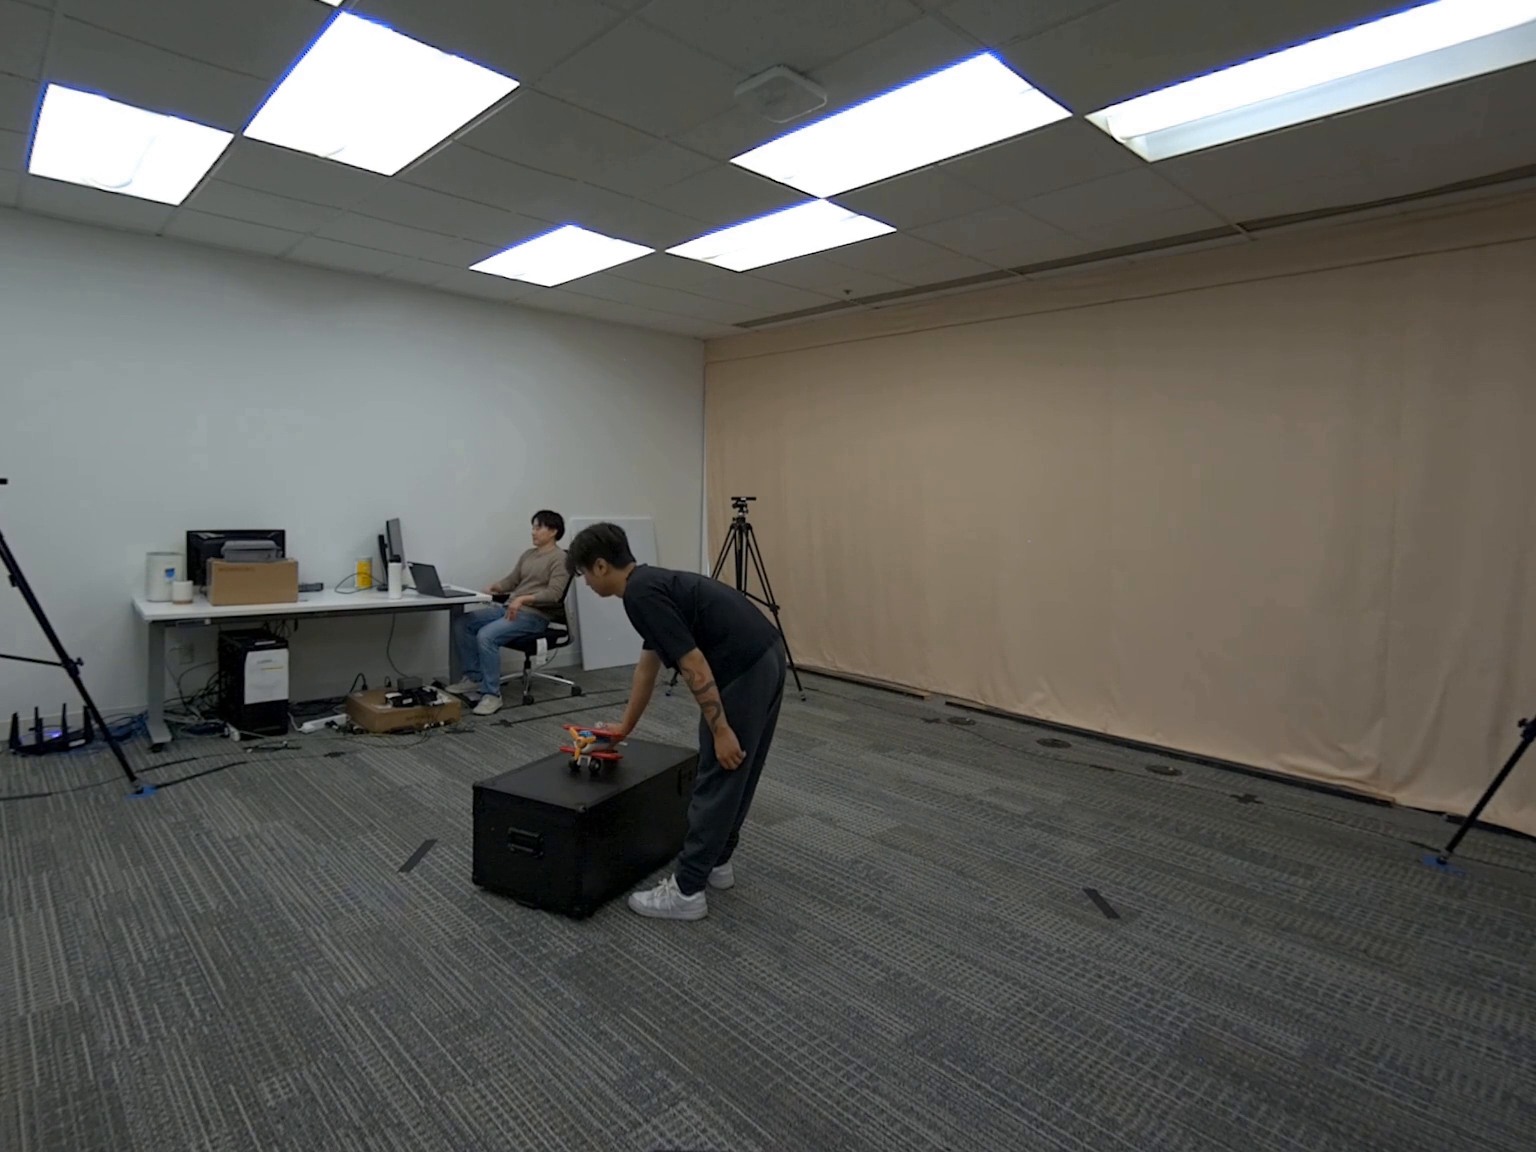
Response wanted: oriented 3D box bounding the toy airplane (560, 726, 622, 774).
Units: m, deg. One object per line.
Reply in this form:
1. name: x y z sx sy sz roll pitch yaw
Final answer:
1. toy airplane: -0.672 0.634 3.189 0.251 0.156 0.260 0 4 -2
